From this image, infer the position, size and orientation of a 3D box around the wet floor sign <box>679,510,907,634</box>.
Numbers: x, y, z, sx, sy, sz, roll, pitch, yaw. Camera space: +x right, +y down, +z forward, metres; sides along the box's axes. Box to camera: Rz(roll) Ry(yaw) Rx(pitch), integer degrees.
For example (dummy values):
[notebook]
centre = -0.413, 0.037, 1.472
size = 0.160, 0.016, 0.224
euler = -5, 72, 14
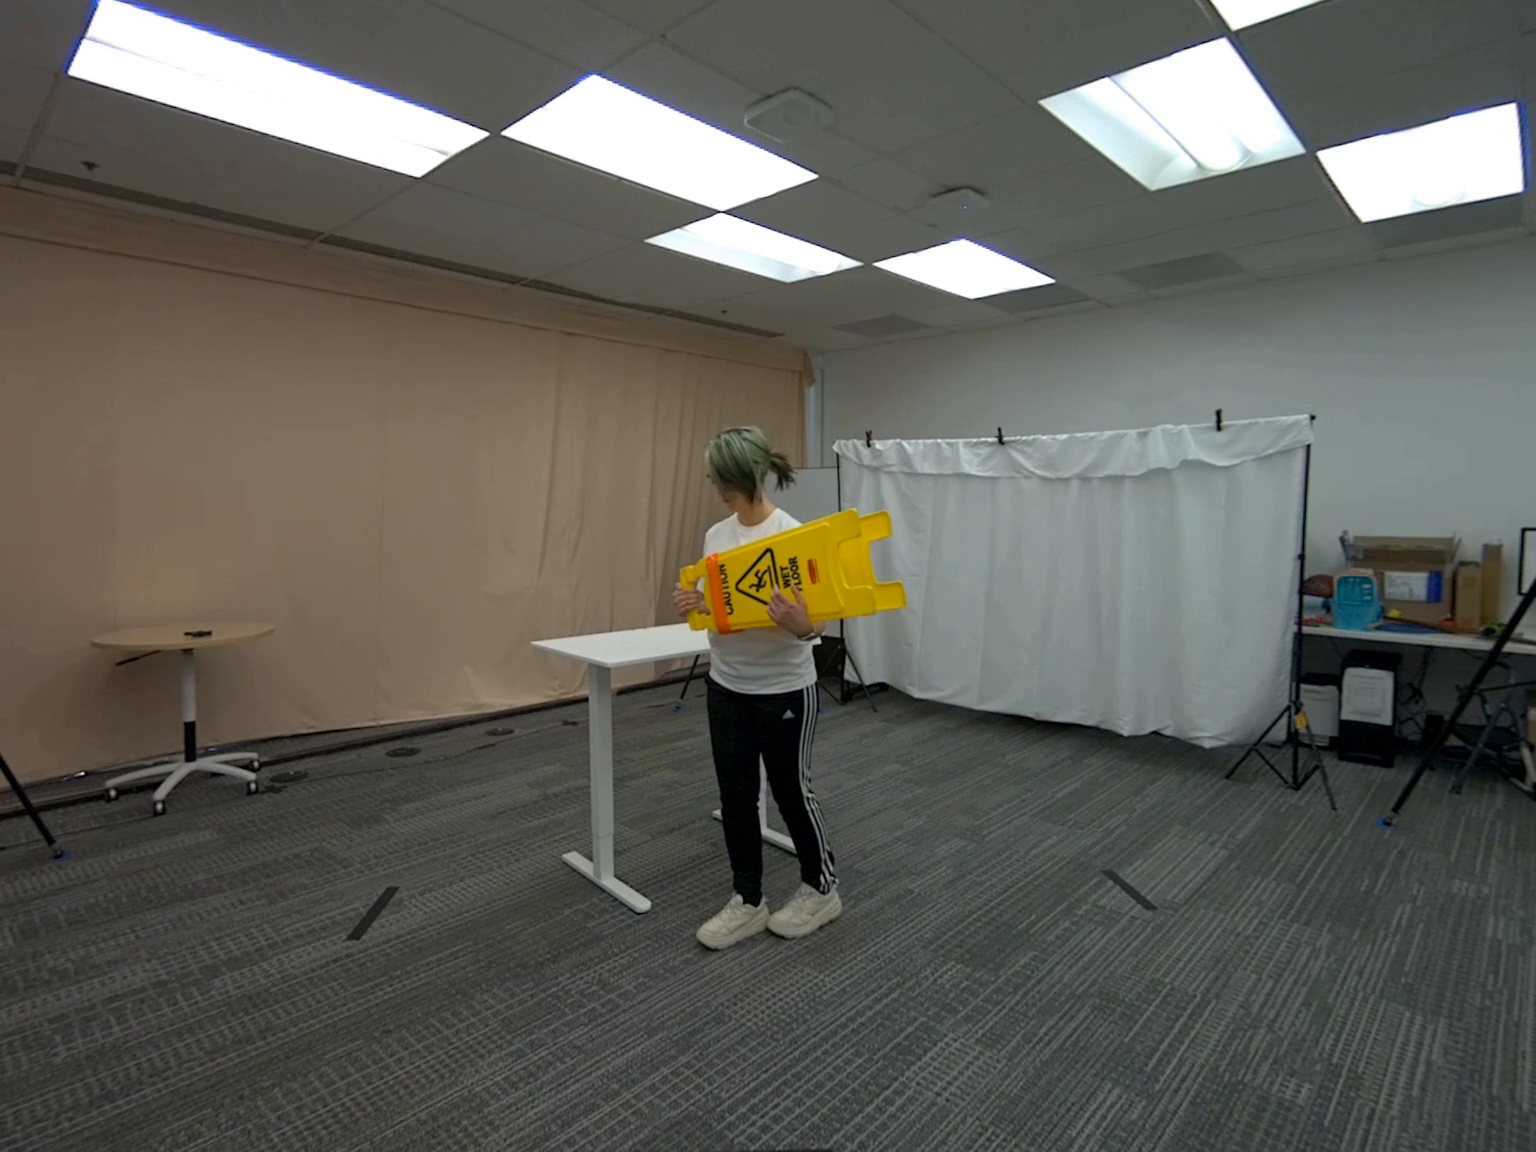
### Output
[wet floor sign]
centre = 0.032, 0.017, 2.427
size = 0.661, 0.283, 0.282
euler = -12, -5, 29
